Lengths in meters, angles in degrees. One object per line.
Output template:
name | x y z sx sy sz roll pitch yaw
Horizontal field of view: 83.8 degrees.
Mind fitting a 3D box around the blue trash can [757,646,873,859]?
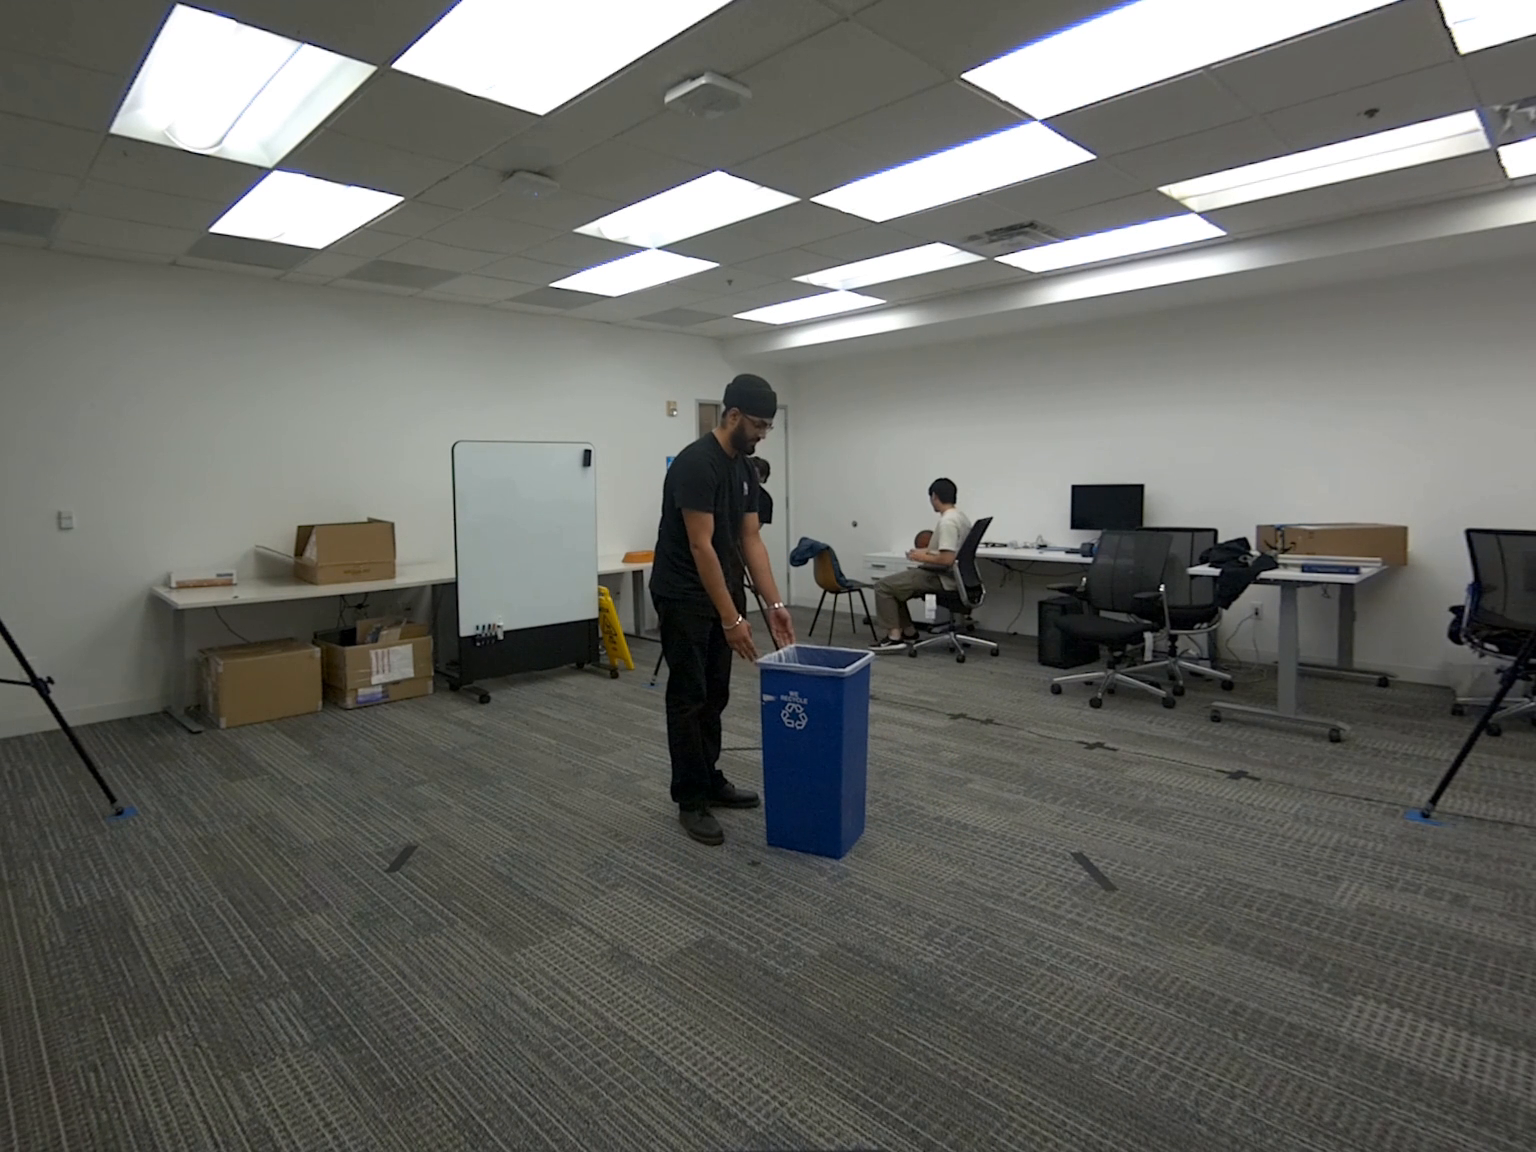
blue trash can | 0.180 0.662 3.293 0.383 0.711 0.371 2 5 25
